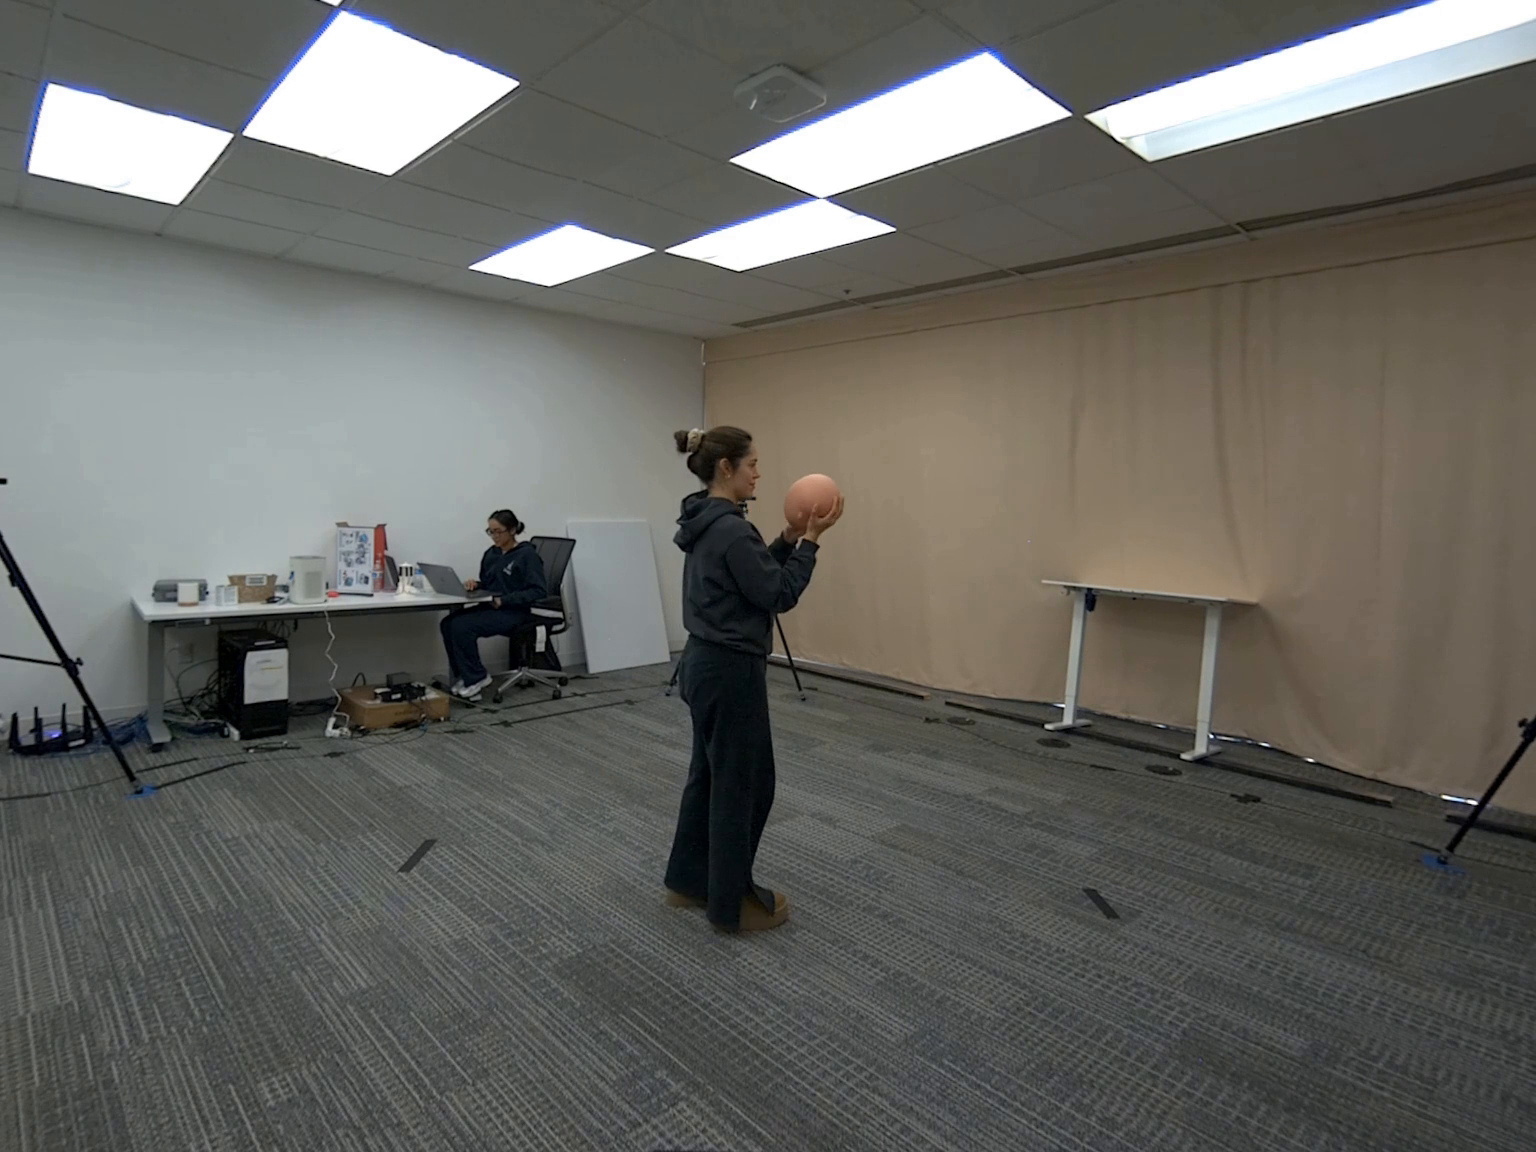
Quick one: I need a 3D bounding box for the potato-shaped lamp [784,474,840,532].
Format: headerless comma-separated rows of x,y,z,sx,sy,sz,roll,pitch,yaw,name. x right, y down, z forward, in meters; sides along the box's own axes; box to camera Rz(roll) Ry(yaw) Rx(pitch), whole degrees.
0.140,-0.236,2.658,0.171,0.166,0.197,13,-14,-5,potato-shaped lamp
